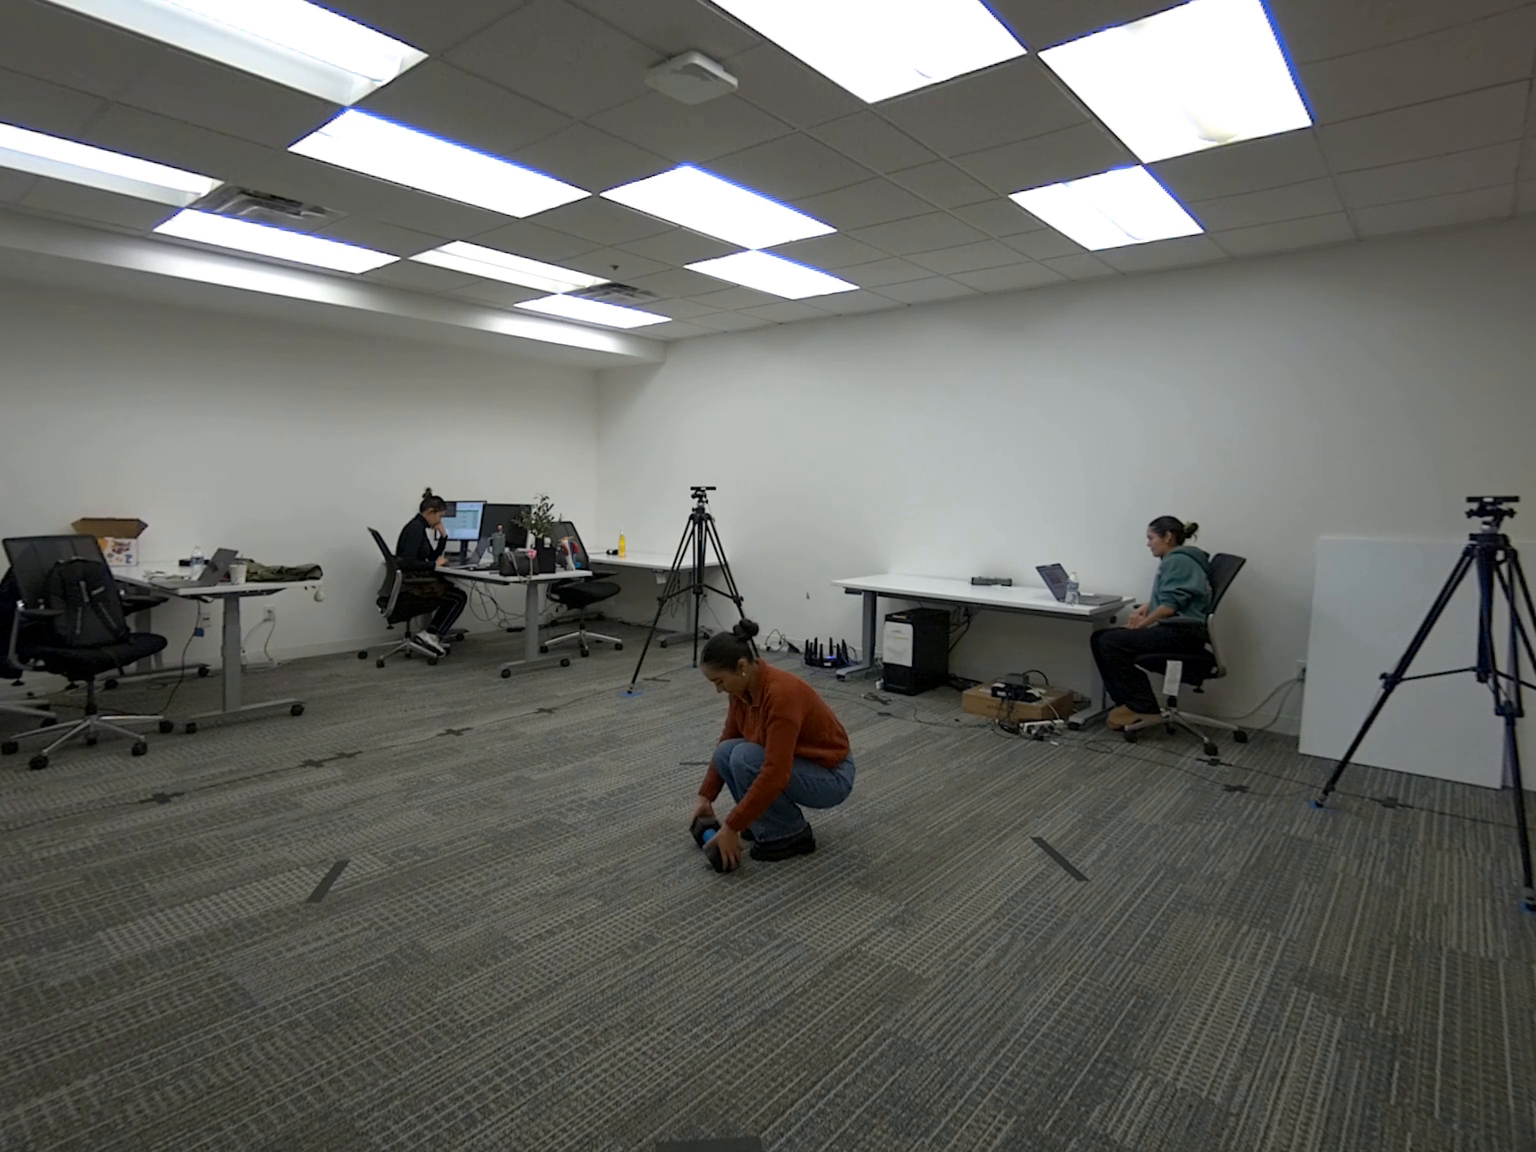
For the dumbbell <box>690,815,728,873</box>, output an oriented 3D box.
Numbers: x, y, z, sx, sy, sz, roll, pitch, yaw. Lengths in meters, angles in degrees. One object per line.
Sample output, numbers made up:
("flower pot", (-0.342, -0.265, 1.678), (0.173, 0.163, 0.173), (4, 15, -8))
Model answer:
("dumbbell", (-0.214, 1.004, 3.210), (0.106, 0.123, 0.300), (31, -5, -20))
